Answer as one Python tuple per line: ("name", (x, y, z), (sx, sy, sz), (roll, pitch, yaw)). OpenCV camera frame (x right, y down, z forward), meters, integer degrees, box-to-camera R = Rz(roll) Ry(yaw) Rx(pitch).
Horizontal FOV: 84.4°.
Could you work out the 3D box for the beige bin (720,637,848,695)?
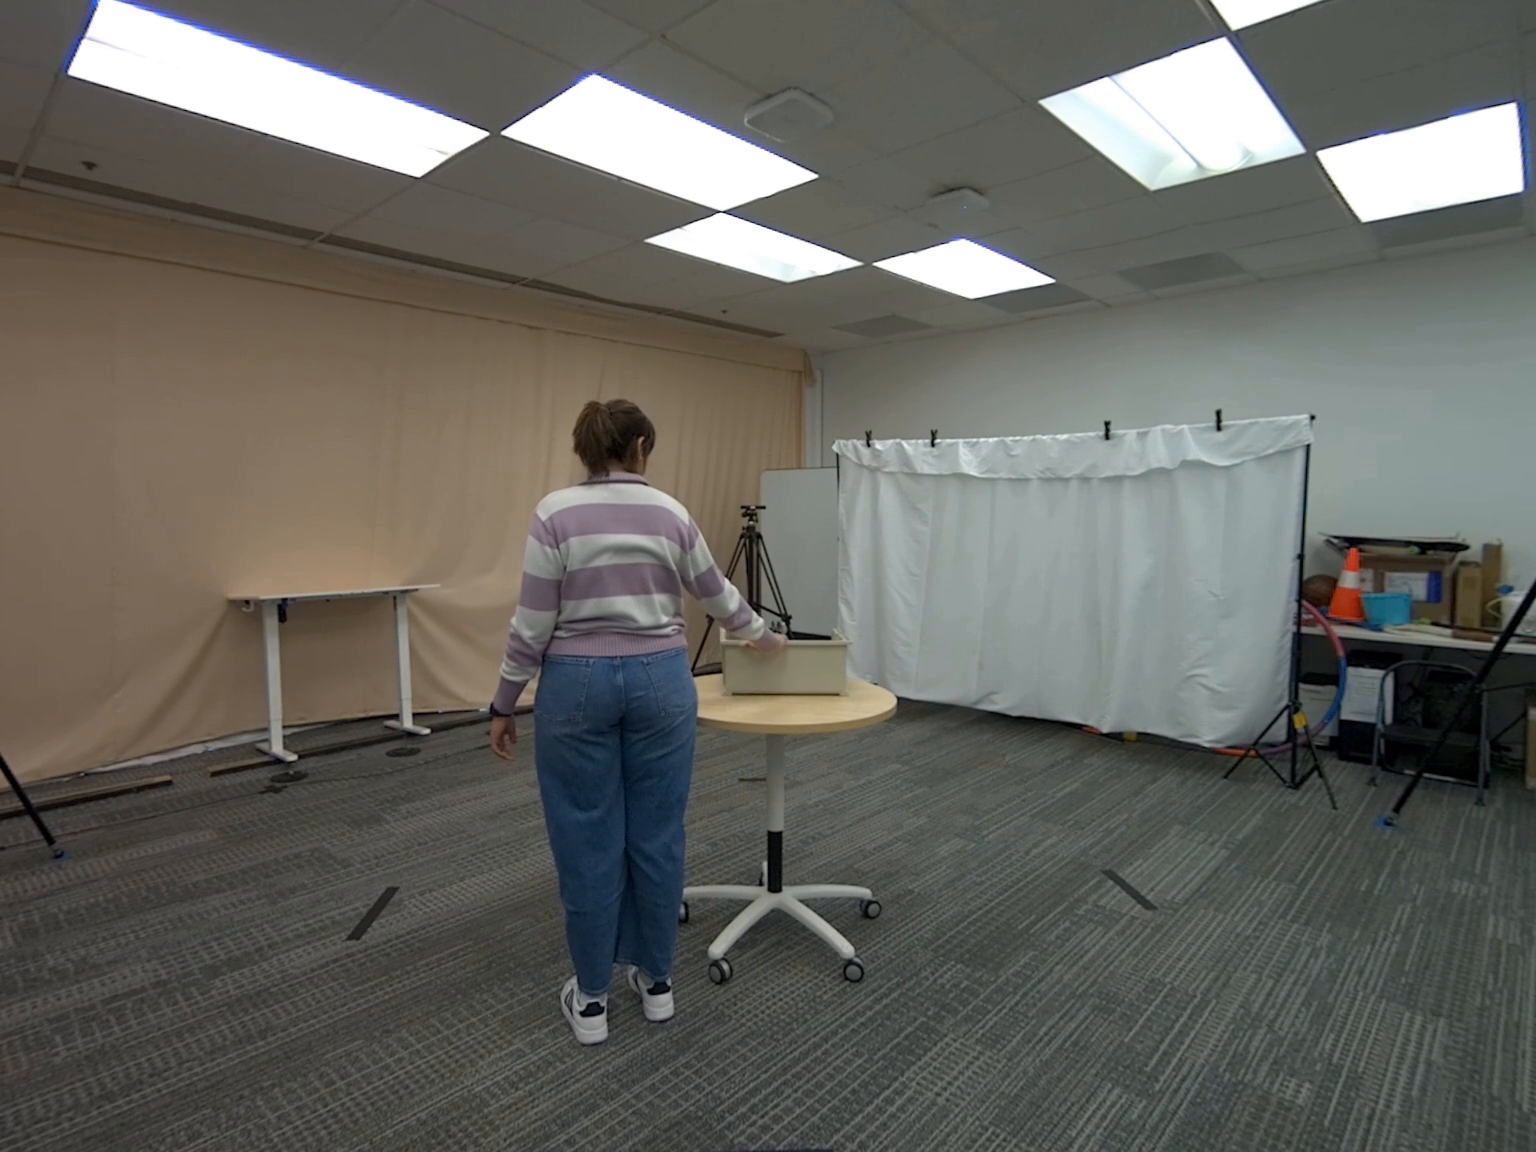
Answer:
("beige bin", (0.050, 0.276, 2.858), (0.422, 0.188, 0.379), (-1, 6, -2))
